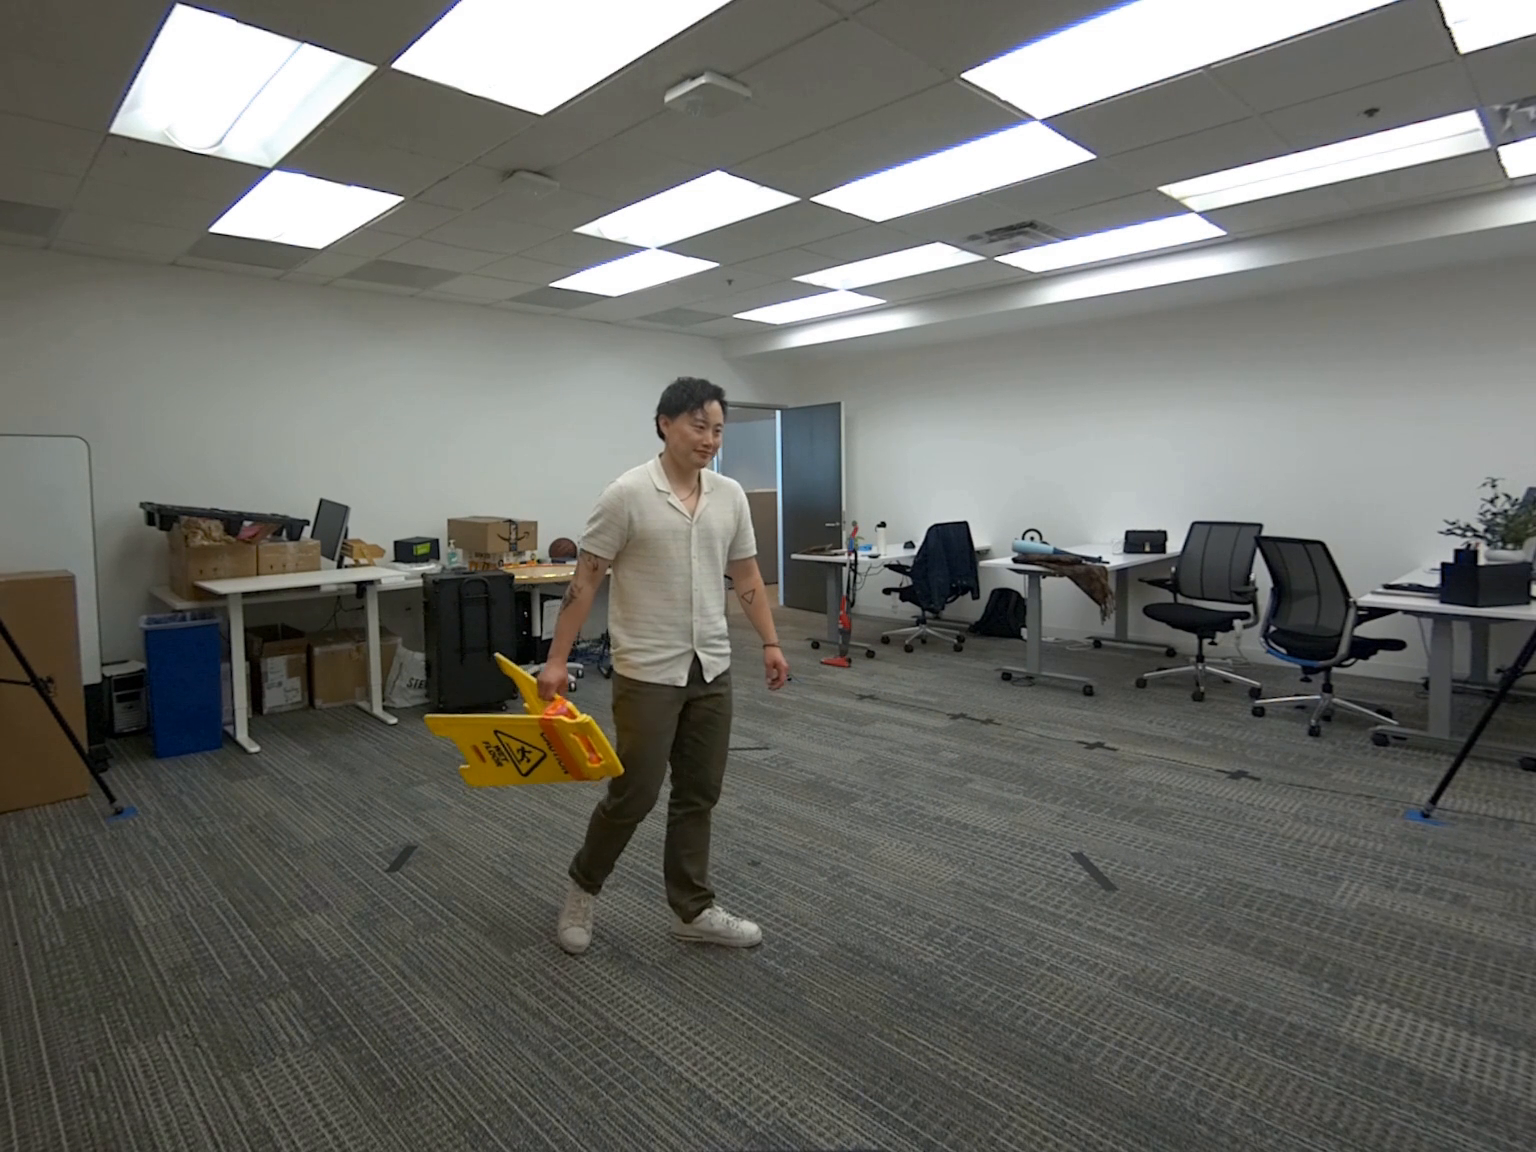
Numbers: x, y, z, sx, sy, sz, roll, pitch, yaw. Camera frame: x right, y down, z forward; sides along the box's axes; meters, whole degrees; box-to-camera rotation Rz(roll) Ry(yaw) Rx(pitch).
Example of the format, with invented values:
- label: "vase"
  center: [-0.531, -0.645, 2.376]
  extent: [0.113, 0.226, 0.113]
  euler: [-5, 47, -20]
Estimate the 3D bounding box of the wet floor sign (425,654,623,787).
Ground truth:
- label: "wet floor sign"
  center: [-0.647, 0.453, 2.459]
  extent: [0.664, 0.275, 0.289]
  euler: [-2, 32, 44]
